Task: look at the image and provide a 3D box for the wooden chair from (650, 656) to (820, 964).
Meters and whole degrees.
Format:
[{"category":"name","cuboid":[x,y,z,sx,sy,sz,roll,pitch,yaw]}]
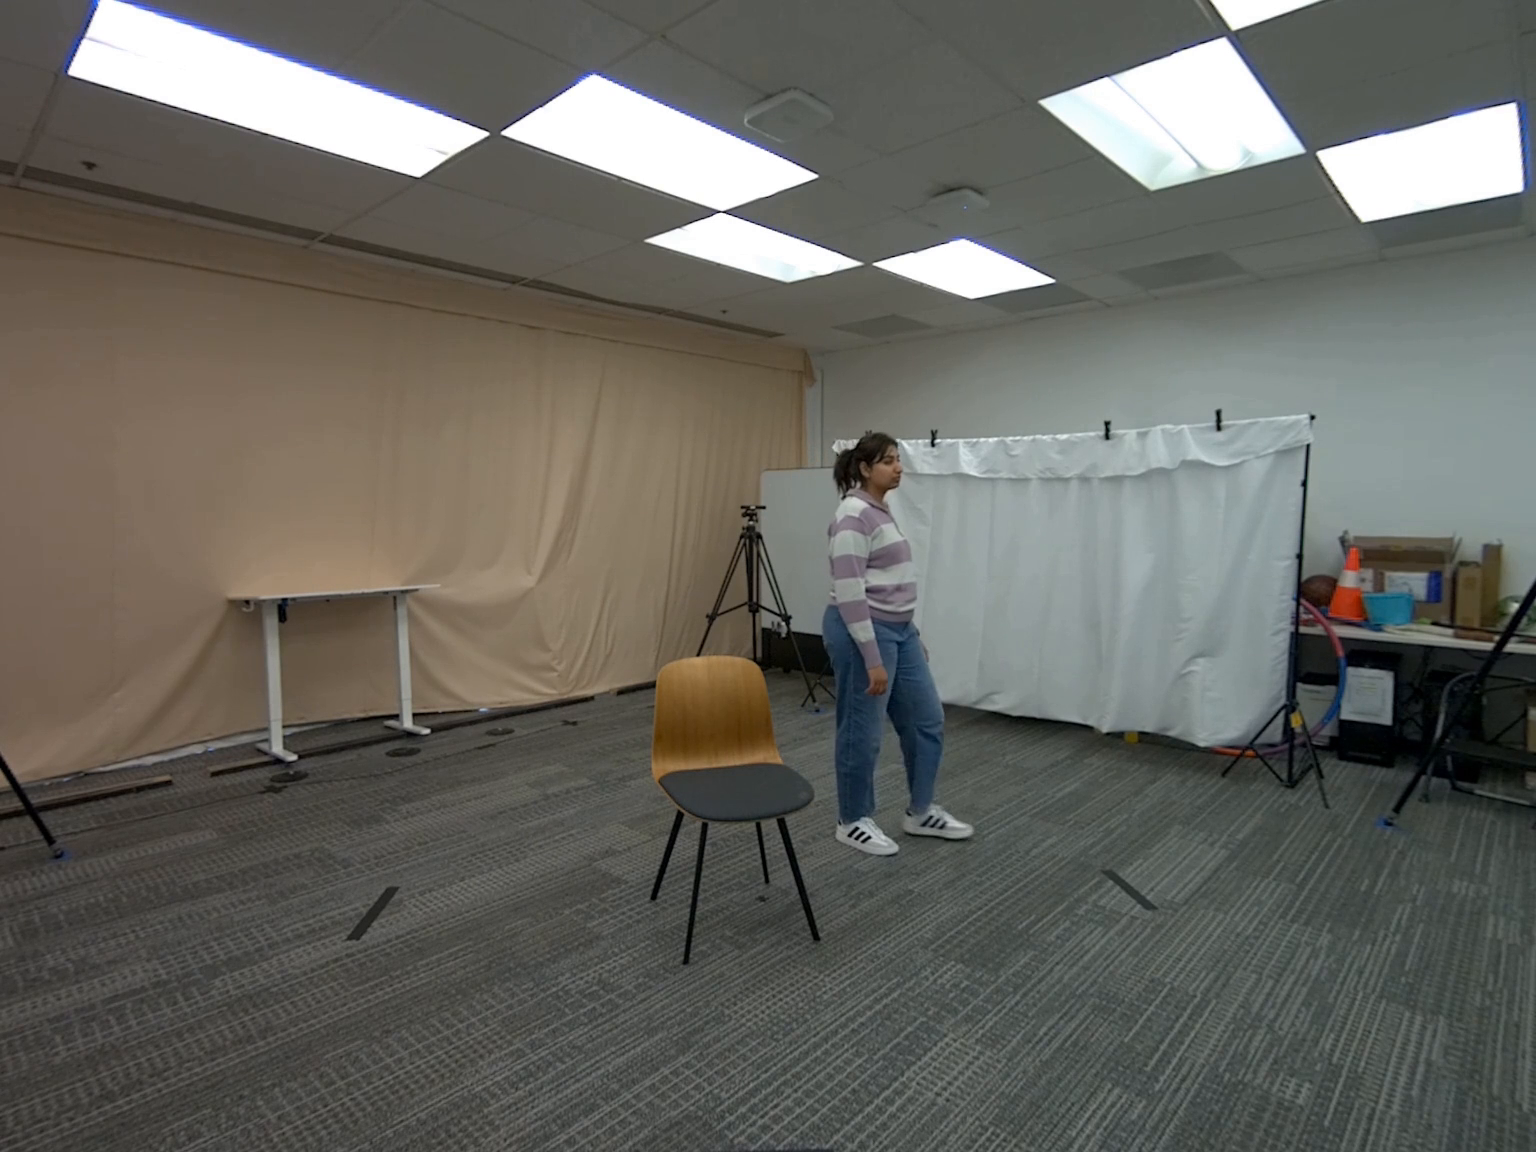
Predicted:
[{"category":"wooden chair","cuboid":[-0.119,0.732,2.797,0.469,0.878,0.533,-1,-1,-20]}]
